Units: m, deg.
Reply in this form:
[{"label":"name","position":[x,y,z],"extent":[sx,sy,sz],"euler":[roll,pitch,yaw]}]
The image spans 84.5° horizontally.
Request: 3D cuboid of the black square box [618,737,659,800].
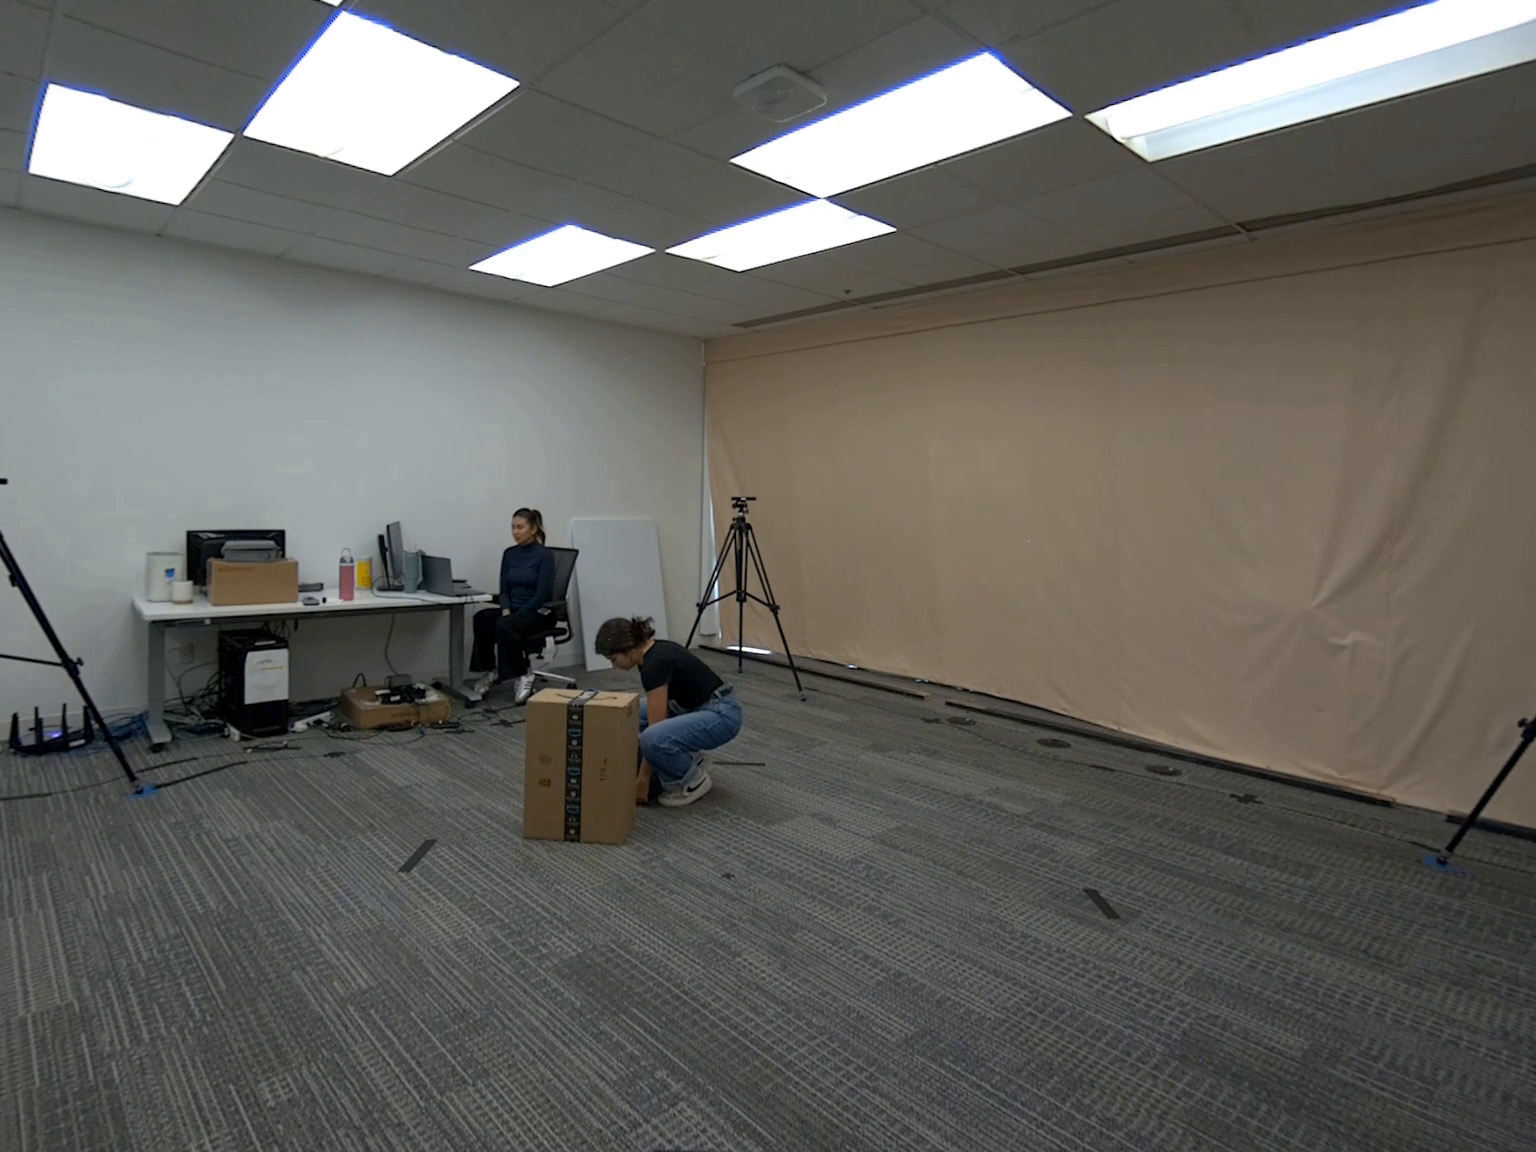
[{"label":"black square box","position":[-0.578,0.883,3.913],"extent":[0.157,0.228,0.215],"euler":[-2,0,9]}]
